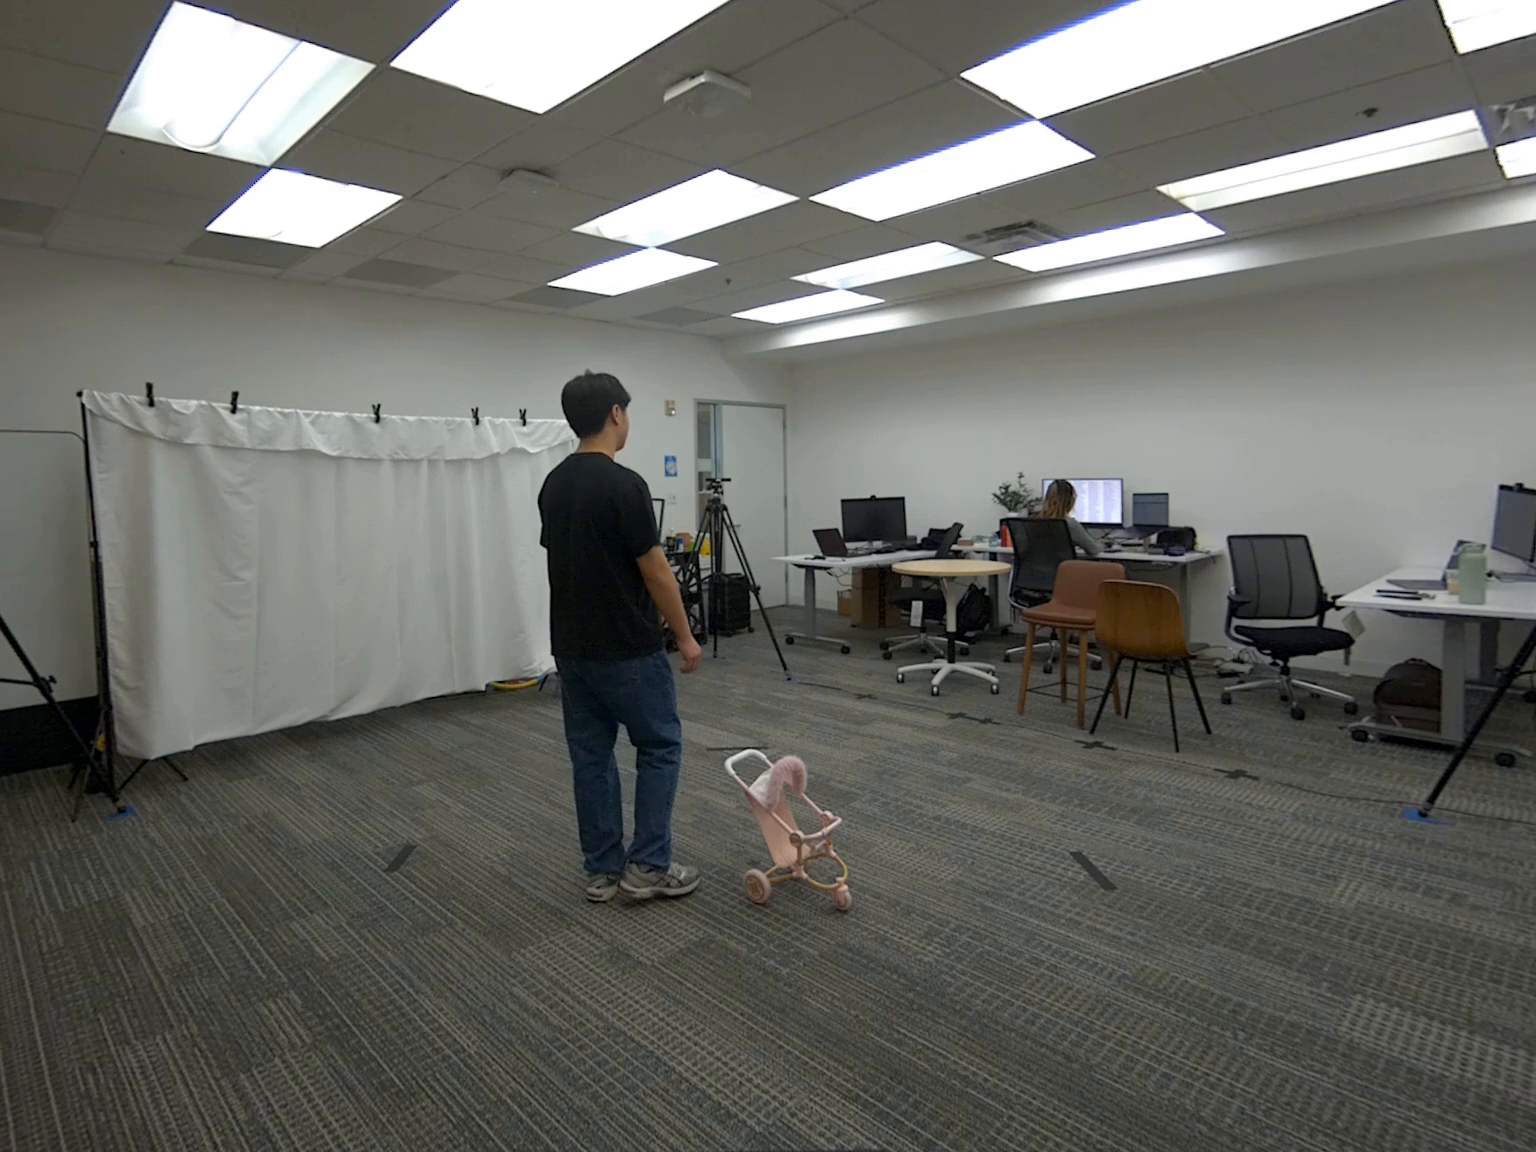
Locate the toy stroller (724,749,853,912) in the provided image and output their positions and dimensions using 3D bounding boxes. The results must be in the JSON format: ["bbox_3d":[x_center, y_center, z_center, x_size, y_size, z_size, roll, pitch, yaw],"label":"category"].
[{"bbox_3d":[0.082,0.839,2.855,0.348,0.539,0.274,-18,-8,41],"label":"toy stroller"}]
